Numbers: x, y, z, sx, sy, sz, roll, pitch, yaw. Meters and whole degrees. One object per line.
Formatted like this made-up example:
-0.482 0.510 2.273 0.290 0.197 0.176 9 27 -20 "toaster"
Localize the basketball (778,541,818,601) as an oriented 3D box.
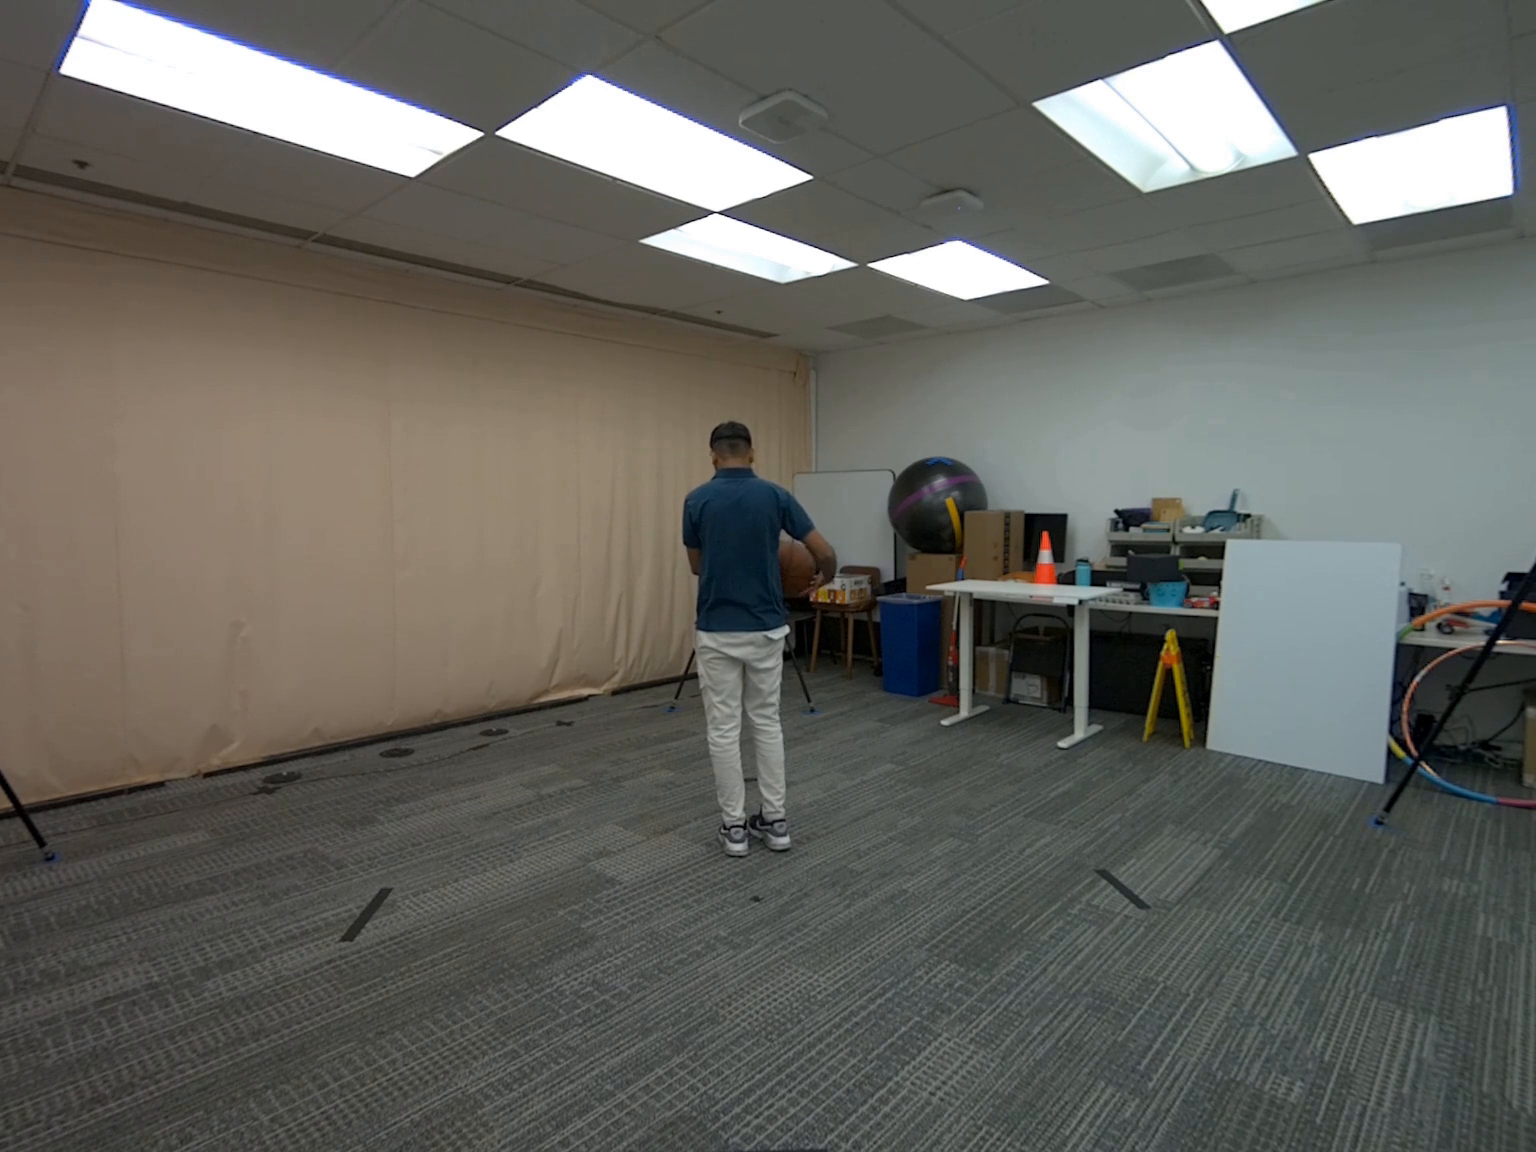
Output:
0.074 -0.030 3.651 0.236 0.235 0.237 0 4 -2 "basketball"
